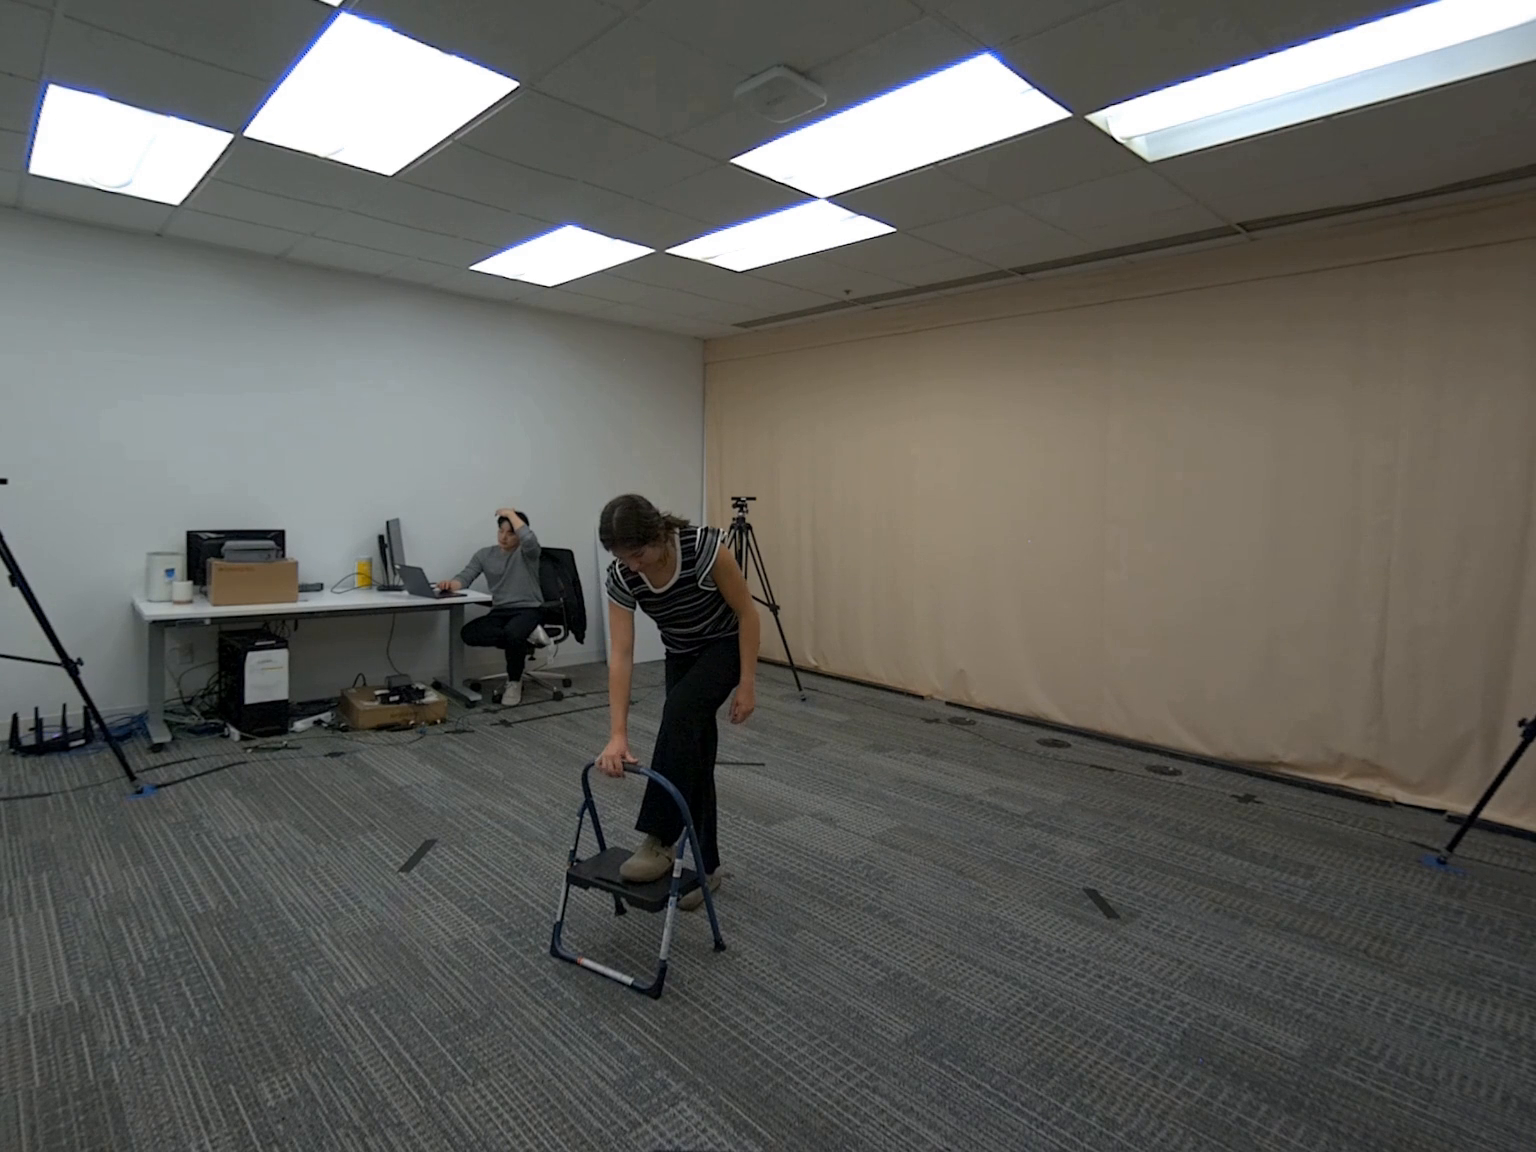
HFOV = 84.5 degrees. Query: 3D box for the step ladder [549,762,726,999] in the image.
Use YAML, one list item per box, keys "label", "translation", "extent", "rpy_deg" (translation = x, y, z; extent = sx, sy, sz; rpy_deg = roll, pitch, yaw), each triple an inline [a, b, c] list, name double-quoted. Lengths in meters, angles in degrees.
- label: "step ladder"
  translation: [-0.400, 0.851, 2.561]
  extent: [0.440, 0.605, 0.342]
  rpy_deg: [3, 3, 31]
